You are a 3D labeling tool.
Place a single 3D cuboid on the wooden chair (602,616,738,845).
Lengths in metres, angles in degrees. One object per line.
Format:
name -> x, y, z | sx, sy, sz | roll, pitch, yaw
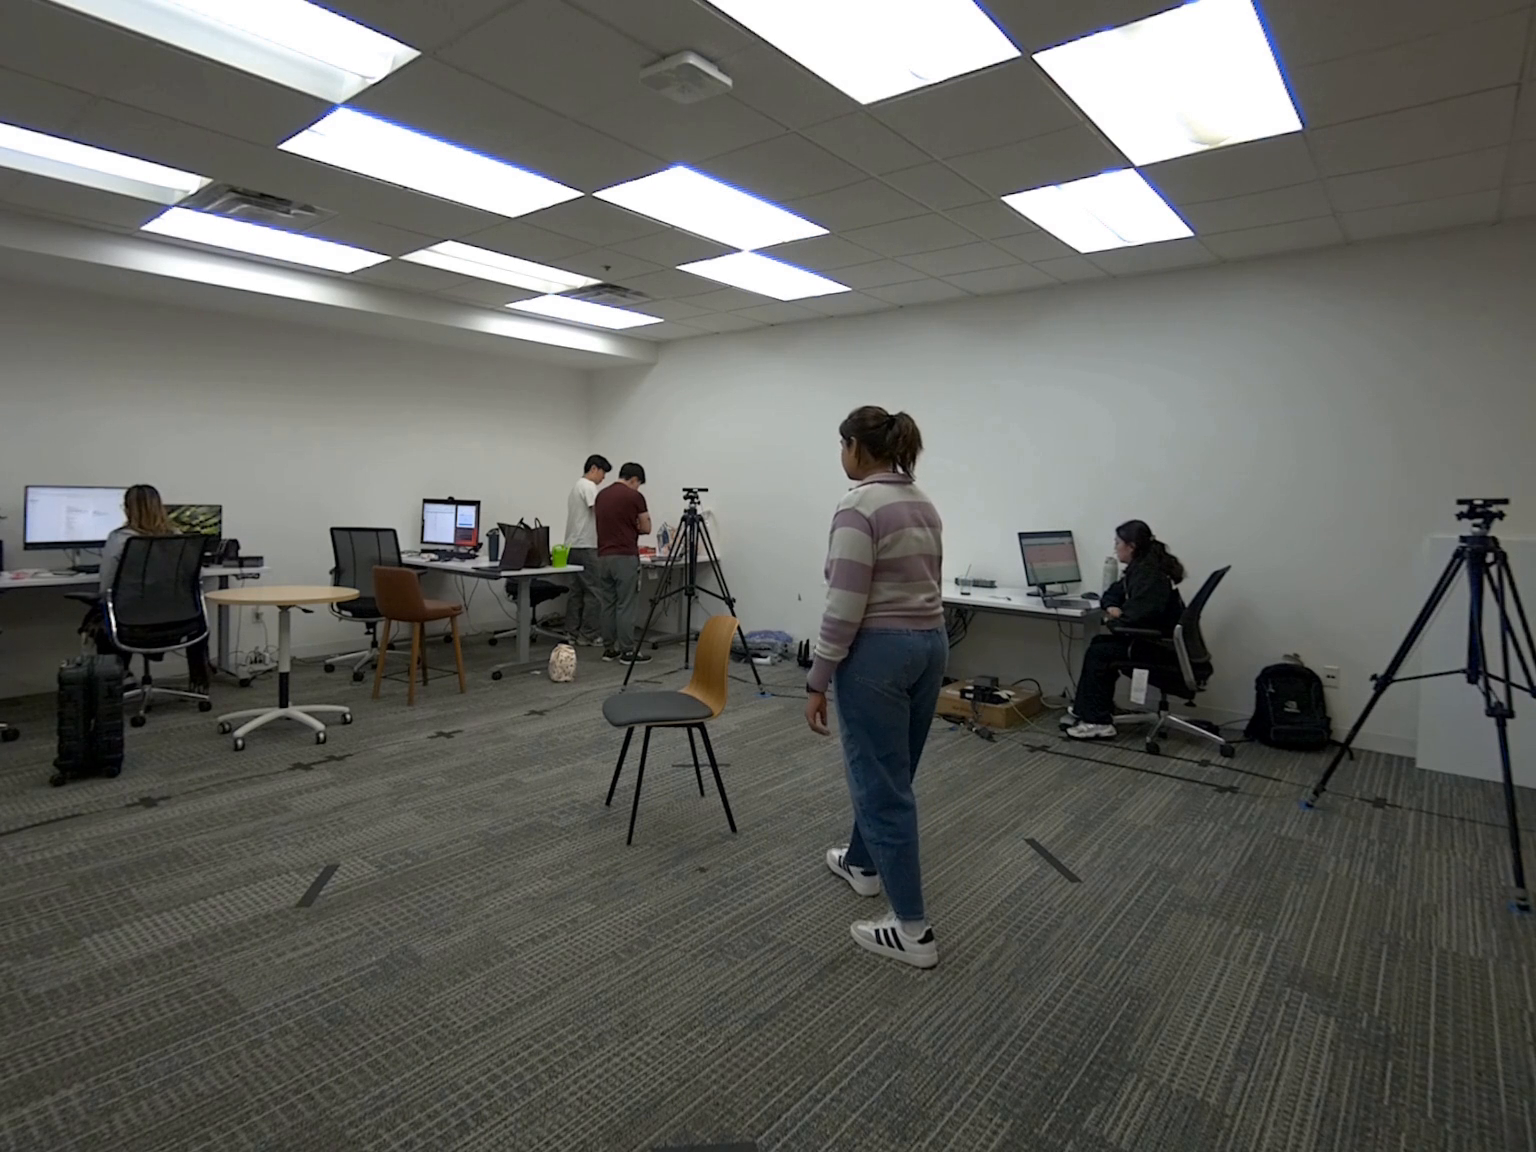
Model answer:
wooden chair -> -0.431, 0.596, 3.554 | 0.512, 0.876, 0.490 | 4, 3, -21
